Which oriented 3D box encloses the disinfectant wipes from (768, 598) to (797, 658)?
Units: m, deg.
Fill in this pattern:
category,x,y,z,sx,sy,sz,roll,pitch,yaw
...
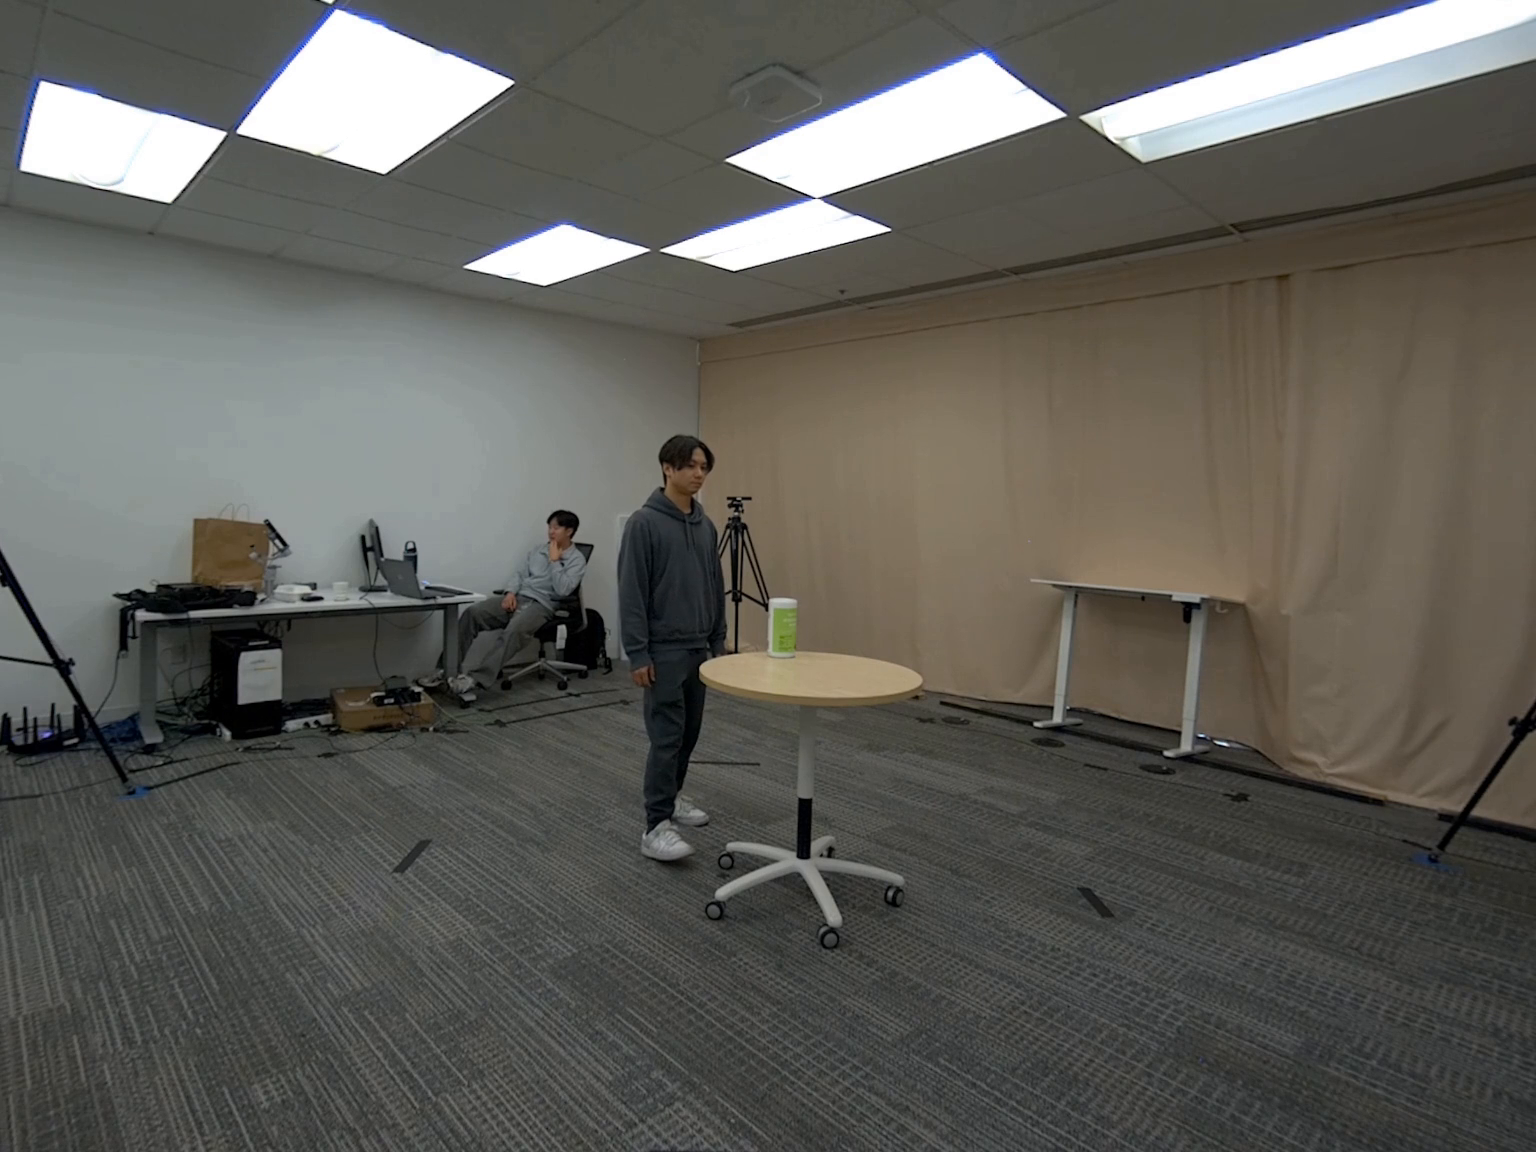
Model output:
category,x,y,z,sx,sy,sz,roll,pitch,yaw
disinfectant wipes,0.043,0.192,3.198,0.118,0.217,0.118,3,1,-1
